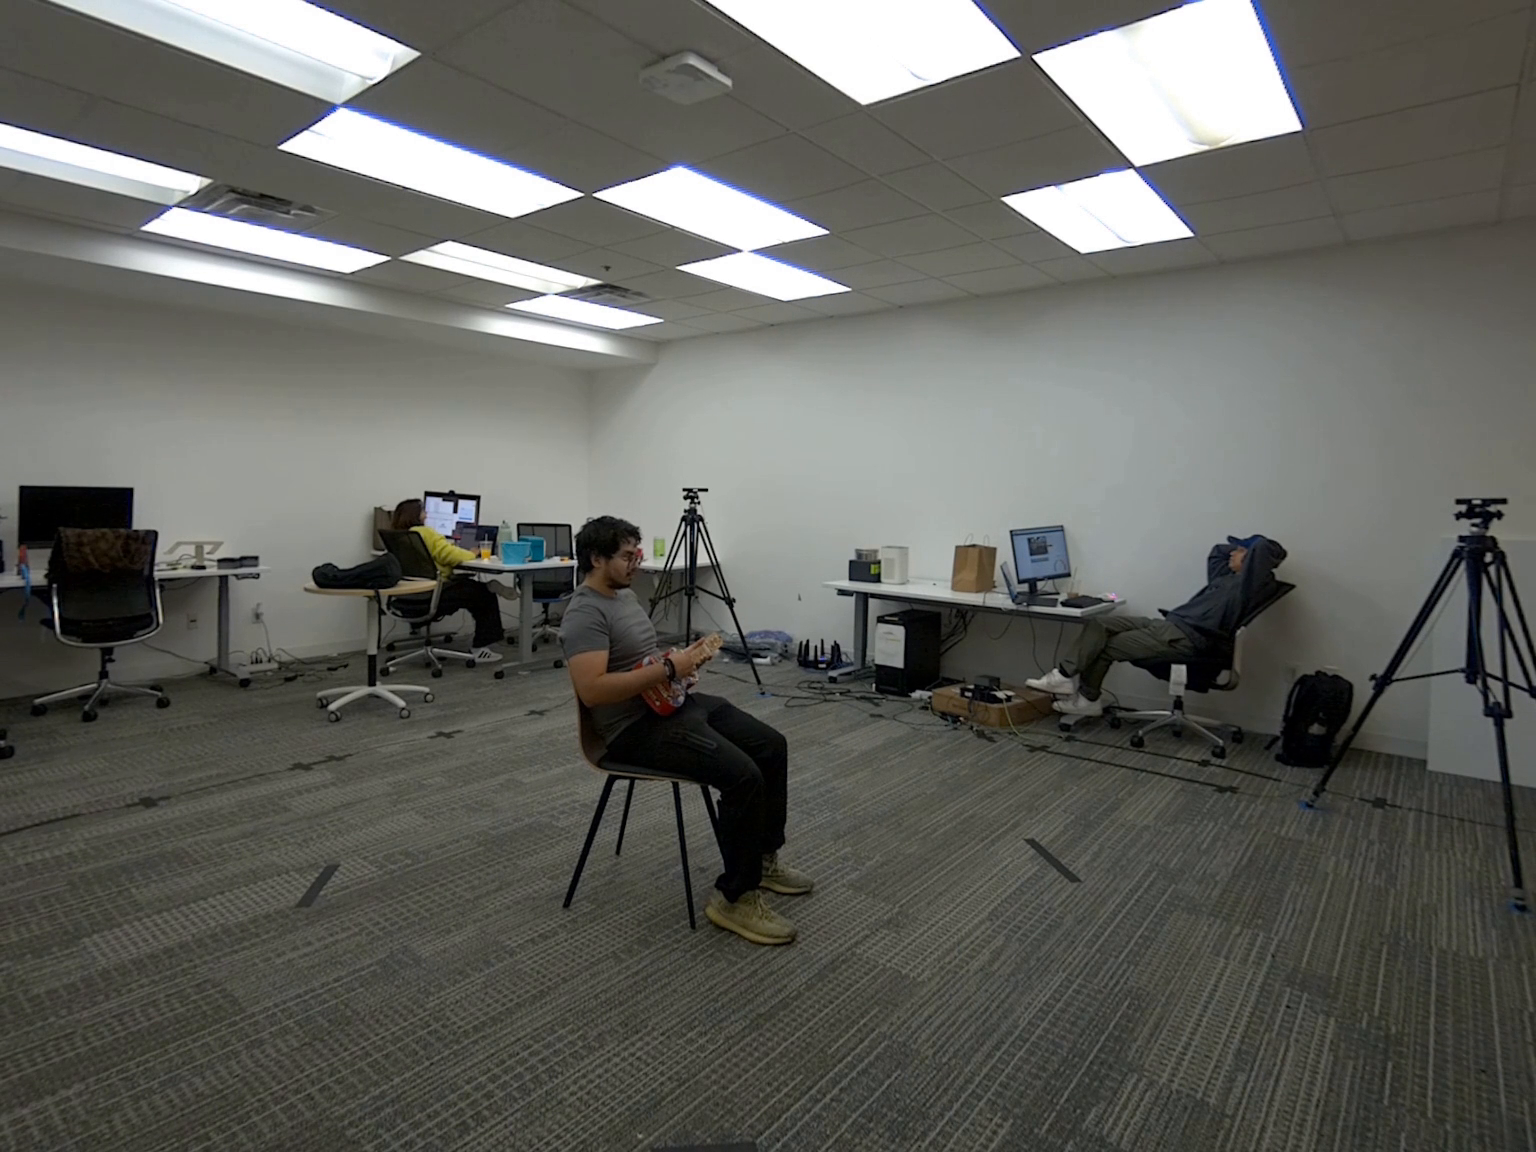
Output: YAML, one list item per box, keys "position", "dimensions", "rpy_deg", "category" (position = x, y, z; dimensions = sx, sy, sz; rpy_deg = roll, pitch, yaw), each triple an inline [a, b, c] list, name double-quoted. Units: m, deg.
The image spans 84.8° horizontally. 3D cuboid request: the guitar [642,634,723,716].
- position: [-0.281, 0.331, 2.930]
  dimensions: [0.071, 0.196, 0.487]
  rpy_deg: [-41, -12, 27]
  category: "guitar"
